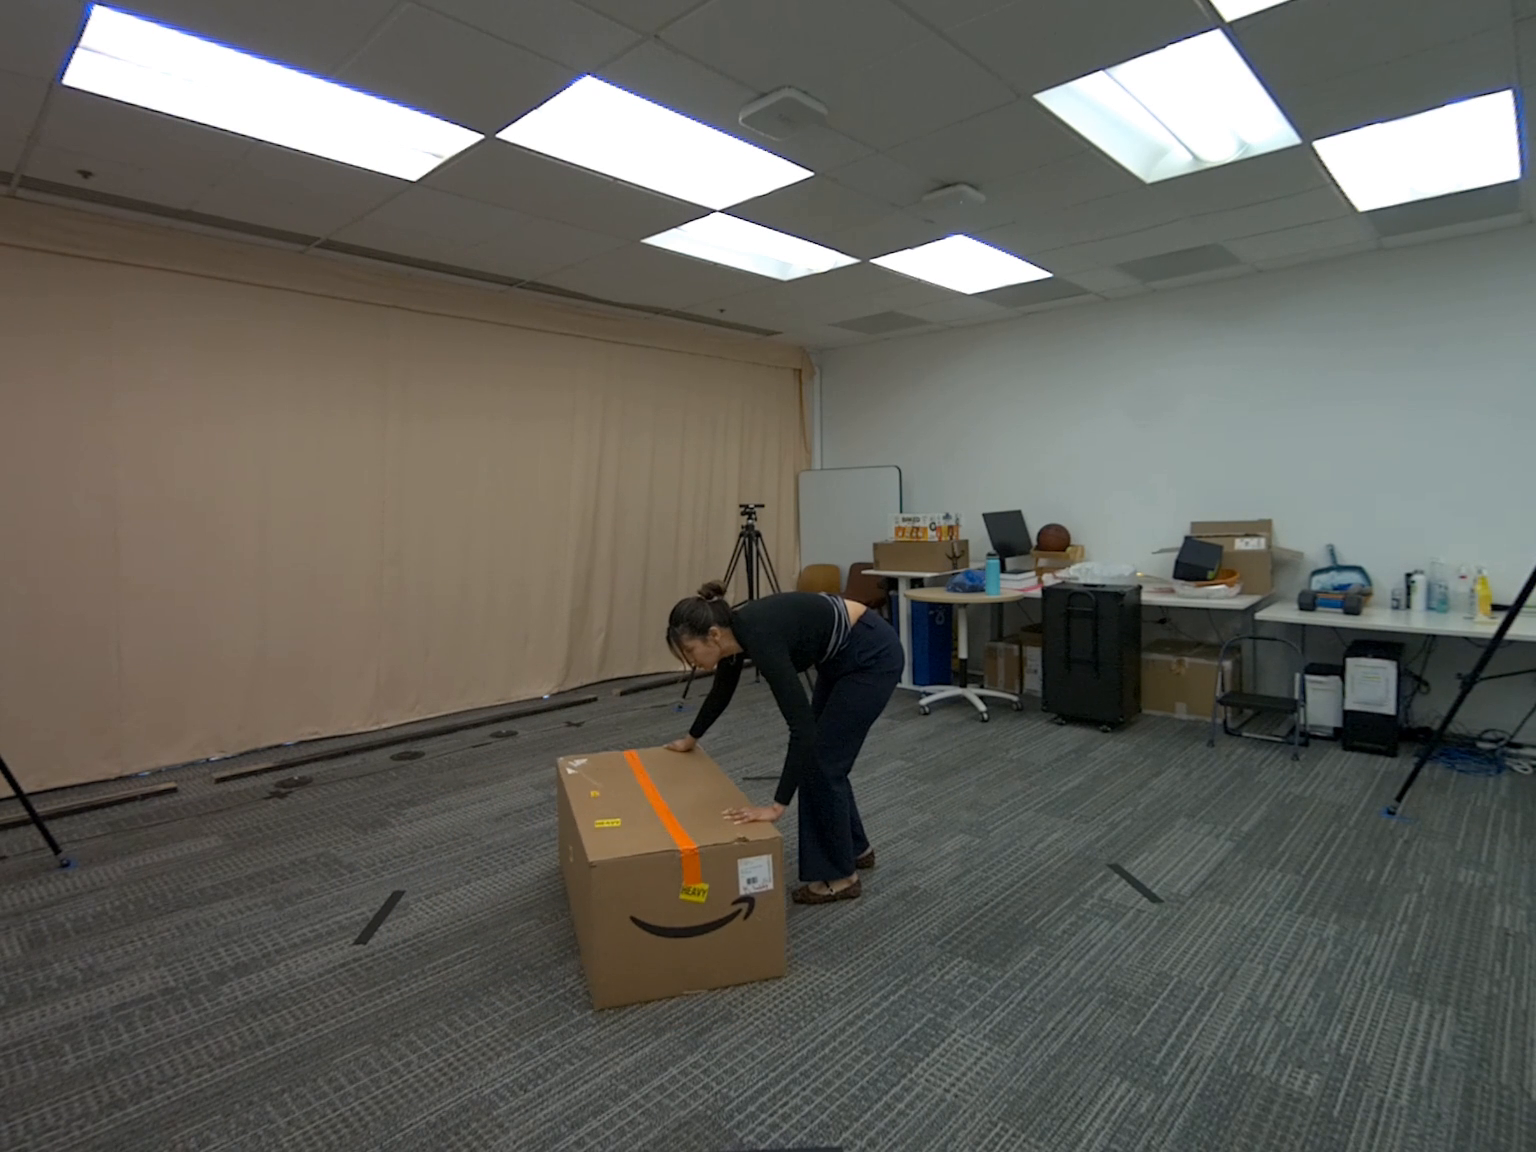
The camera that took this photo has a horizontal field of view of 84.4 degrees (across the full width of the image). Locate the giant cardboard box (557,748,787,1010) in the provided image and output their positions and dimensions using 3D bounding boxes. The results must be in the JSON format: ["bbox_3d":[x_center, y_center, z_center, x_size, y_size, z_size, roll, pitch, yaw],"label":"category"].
[{"bbox_3d":[-0.386,0.940,2.881,0.567,0.425,1.047,-2,4,-19],"label":"giant cardboard box"}]
